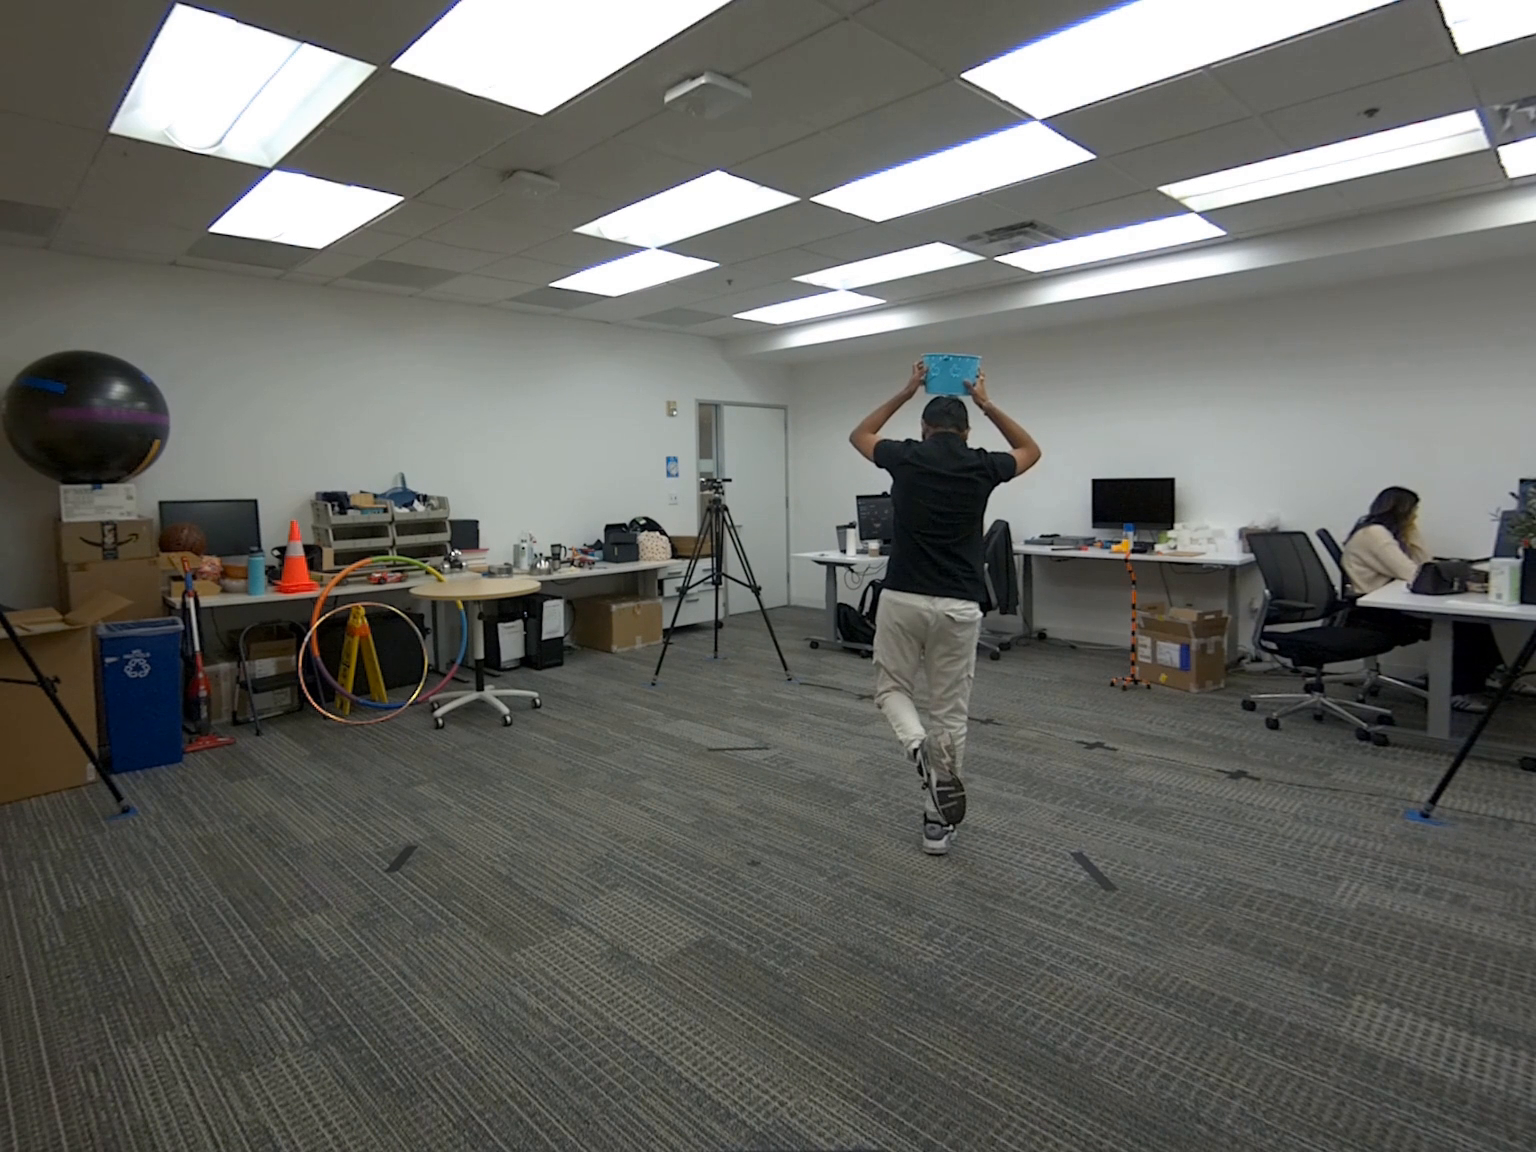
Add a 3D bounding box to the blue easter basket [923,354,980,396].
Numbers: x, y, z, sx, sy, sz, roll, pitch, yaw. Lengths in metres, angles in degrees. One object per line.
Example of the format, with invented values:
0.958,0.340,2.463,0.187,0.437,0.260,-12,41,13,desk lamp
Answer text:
0.729,-0.808,3.434,0.243,0.155,0.245,2,8,-2,blue easter basket
